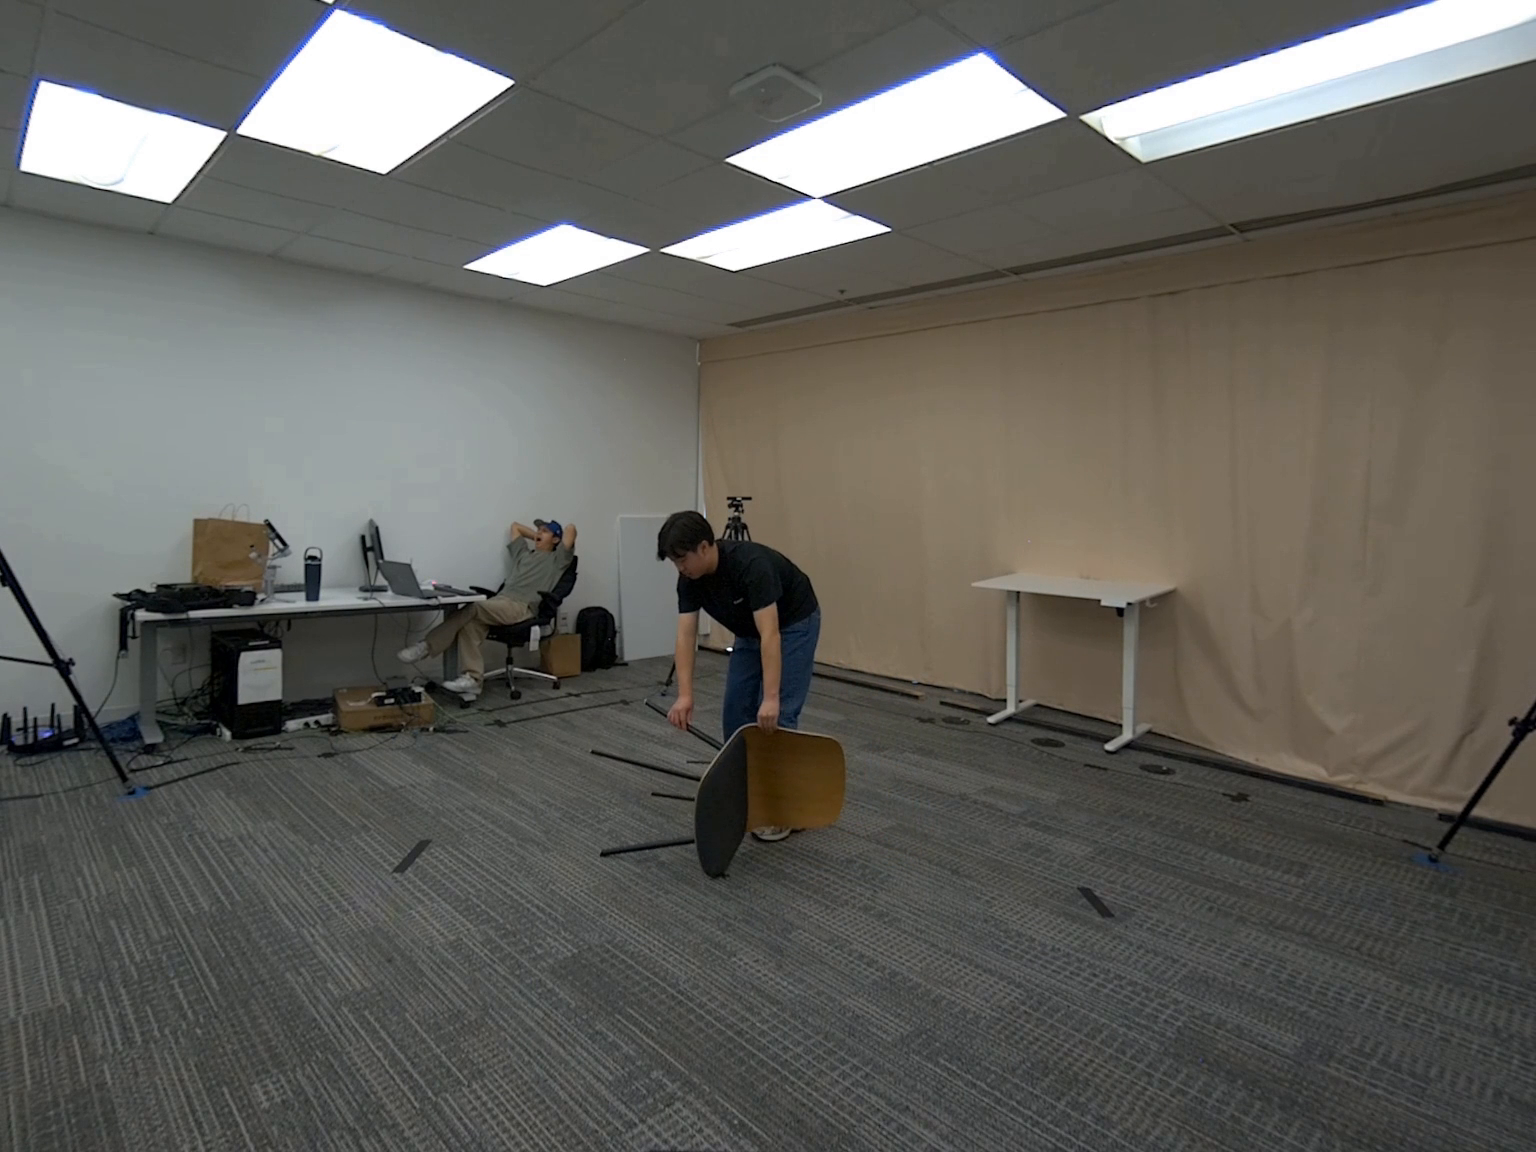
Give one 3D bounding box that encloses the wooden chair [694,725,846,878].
[{"bbox_3d":[-0.183,0.842,3.219,0.889,0.473,0.522,4,16,16],"label":"wooden chair"}]
